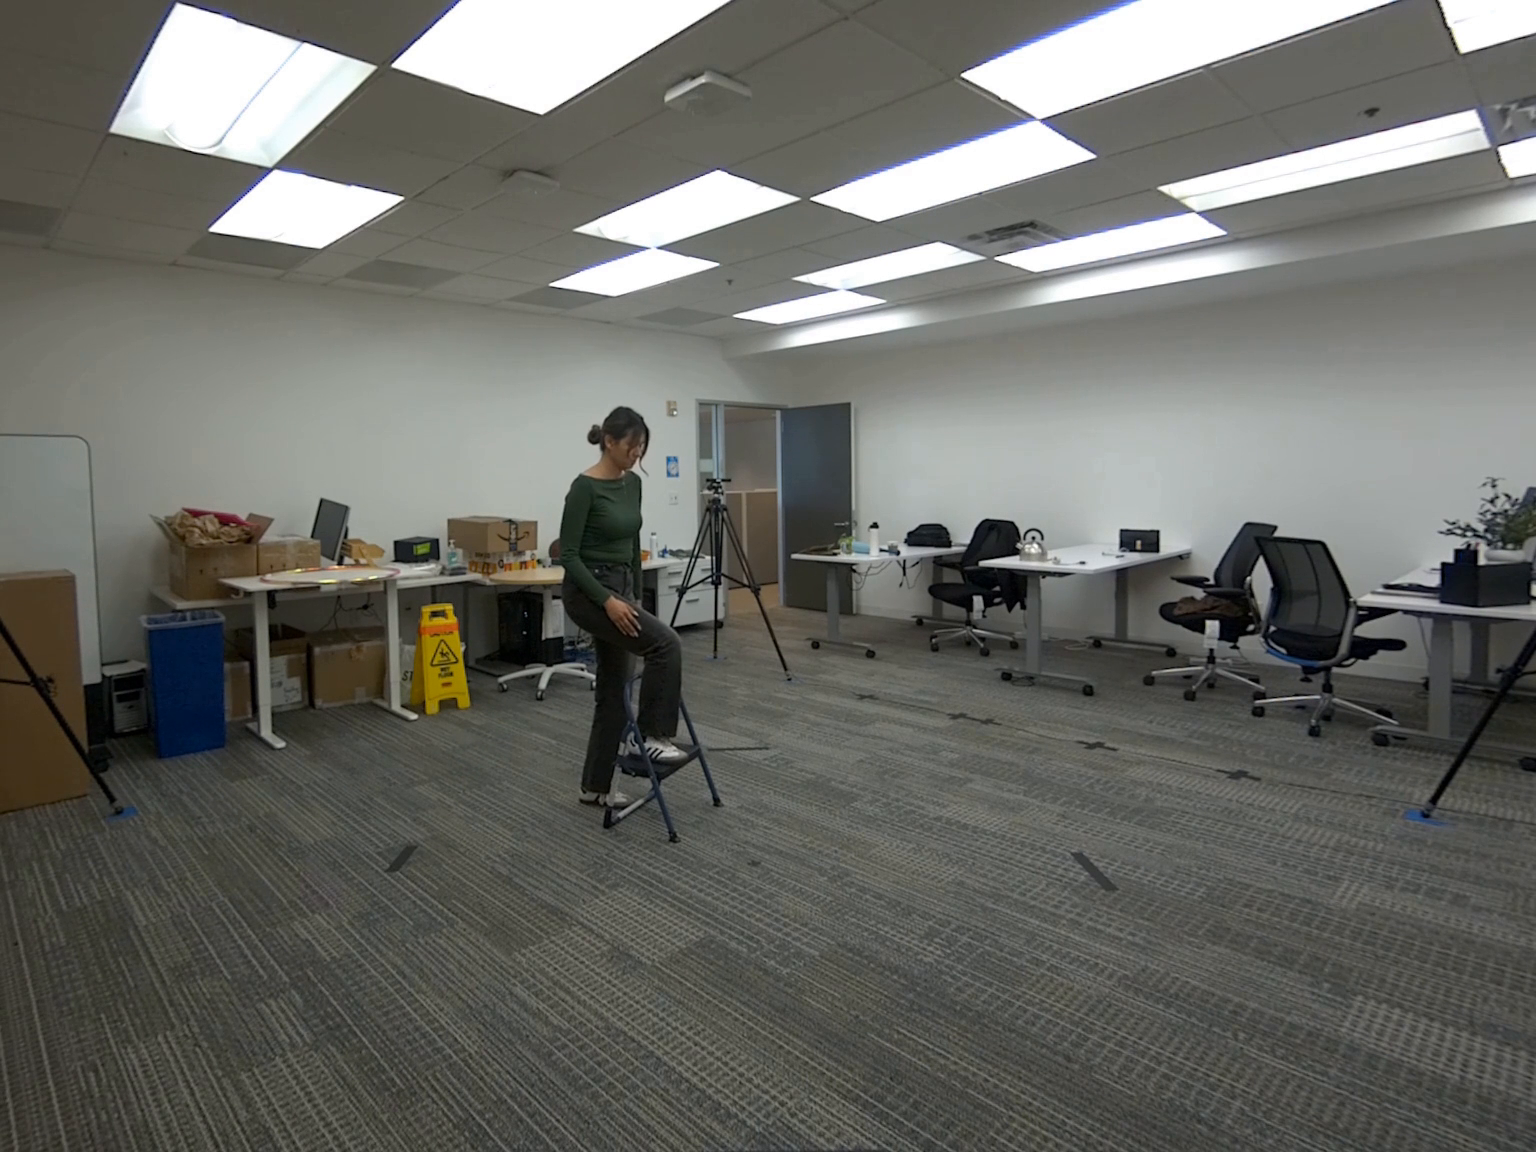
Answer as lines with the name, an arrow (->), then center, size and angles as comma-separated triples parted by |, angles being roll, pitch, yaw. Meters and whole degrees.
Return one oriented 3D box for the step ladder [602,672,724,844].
step ladder -> -0.437, 0.701, 3.536 | 0.357, 0.604, 0.423 | 0, 5, 23
